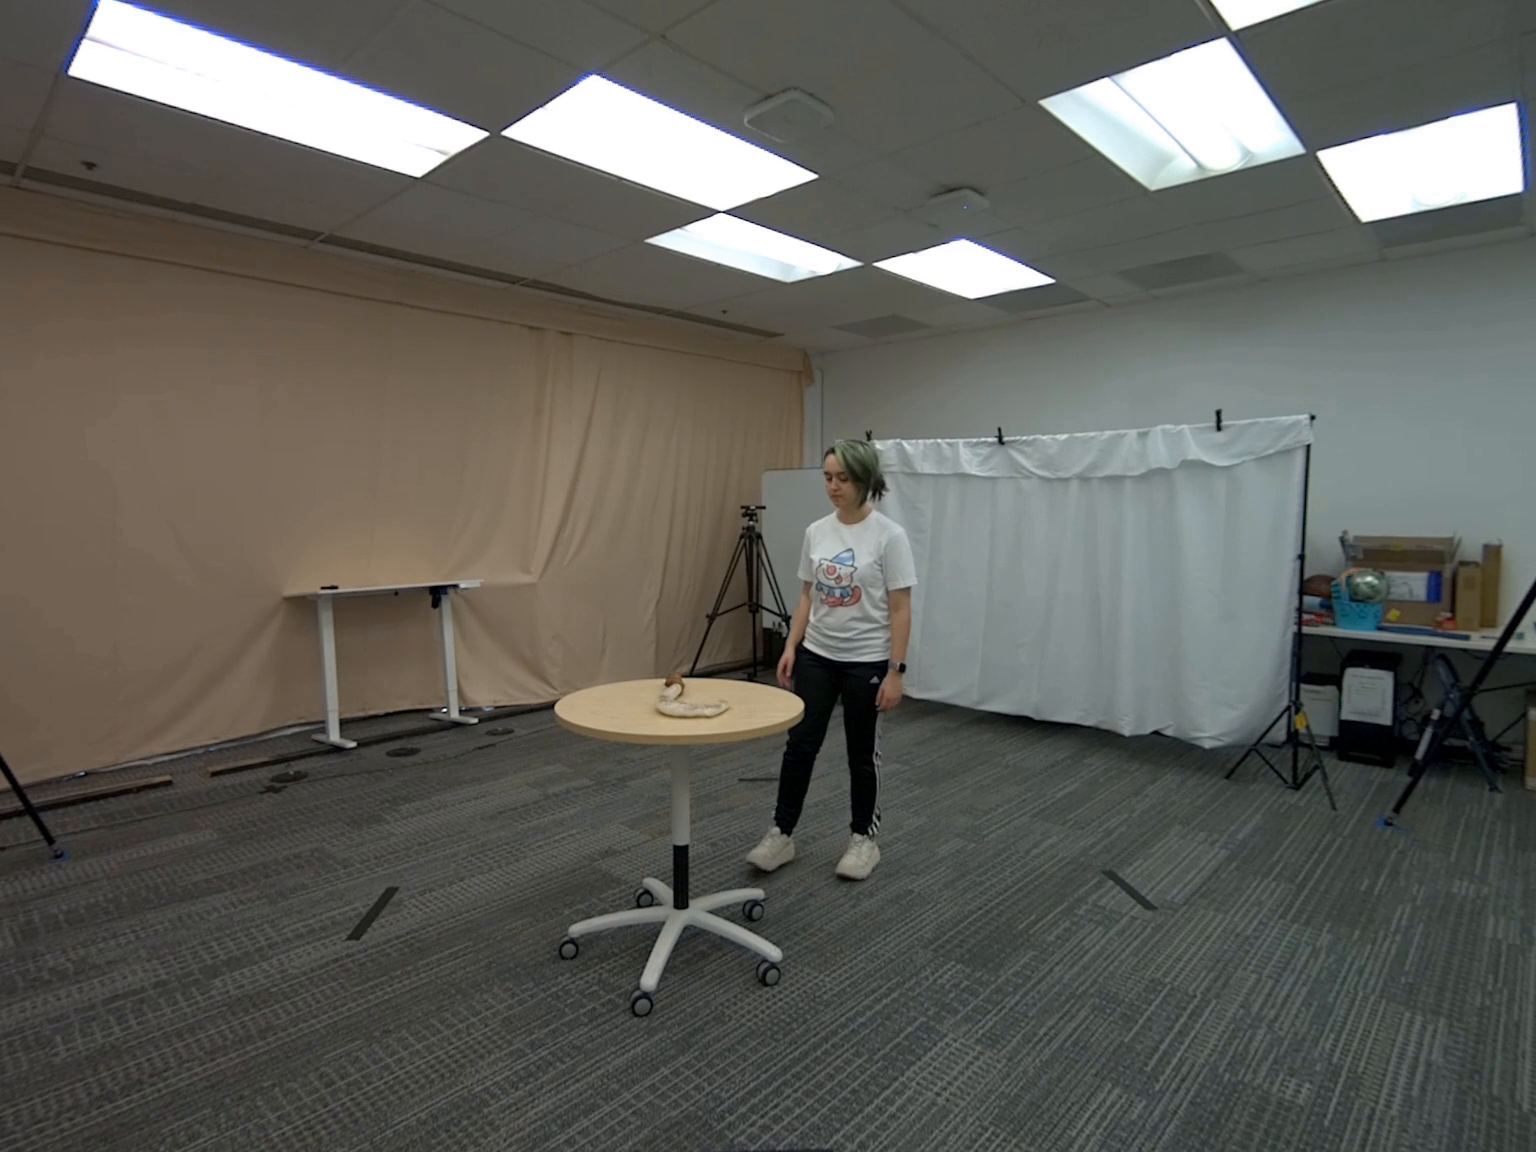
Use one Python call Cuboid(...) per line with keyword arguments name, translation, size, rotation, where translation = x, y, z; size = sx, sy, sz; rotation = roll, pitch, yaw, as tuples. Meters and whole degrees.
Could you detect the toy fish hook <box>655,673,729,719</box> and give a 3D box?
Cuboid(name="toy fish hook", translation=(-0.246, 0.372, 2.647), size=(0.223, 0.048, 0.510), rotation=(6, 5, -6))
